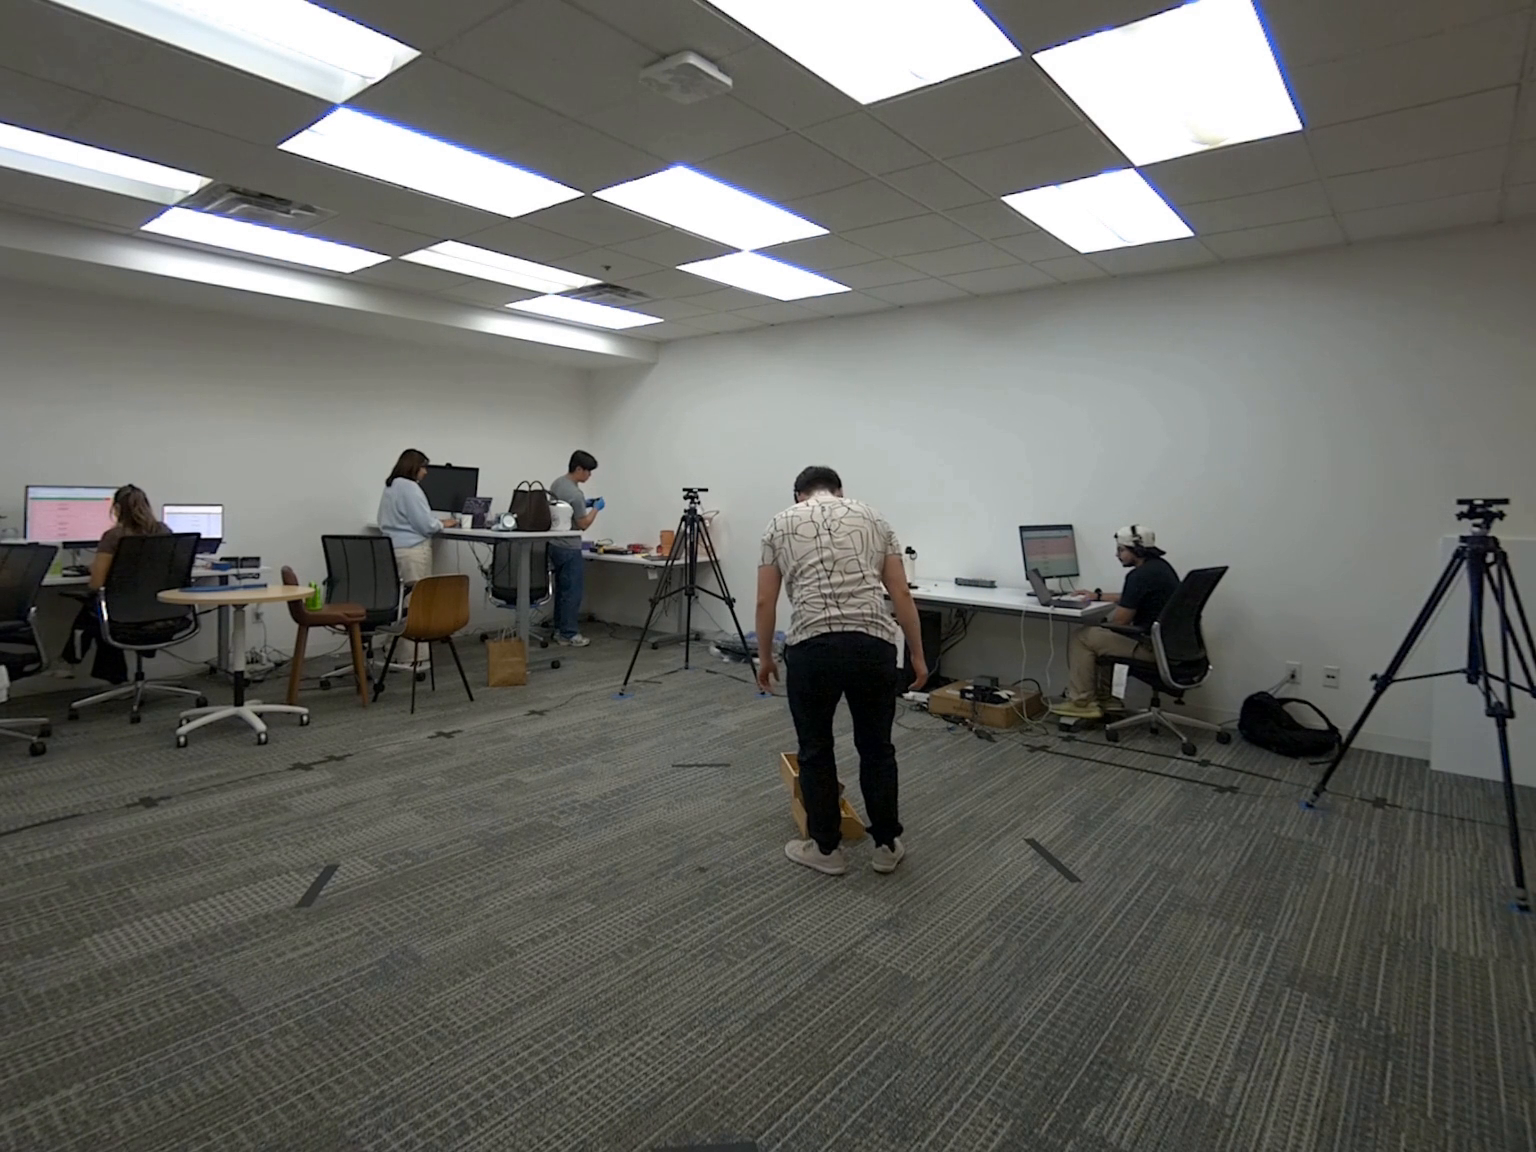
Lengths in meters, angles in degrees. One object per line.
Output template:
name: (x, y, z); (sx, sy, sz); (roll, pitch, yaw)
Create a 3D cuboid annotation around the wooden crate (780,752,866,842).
wooden crate: (0.221, 0.900, 3.541); (0.299, 0.272, 0.329); (1, 5, -9)
